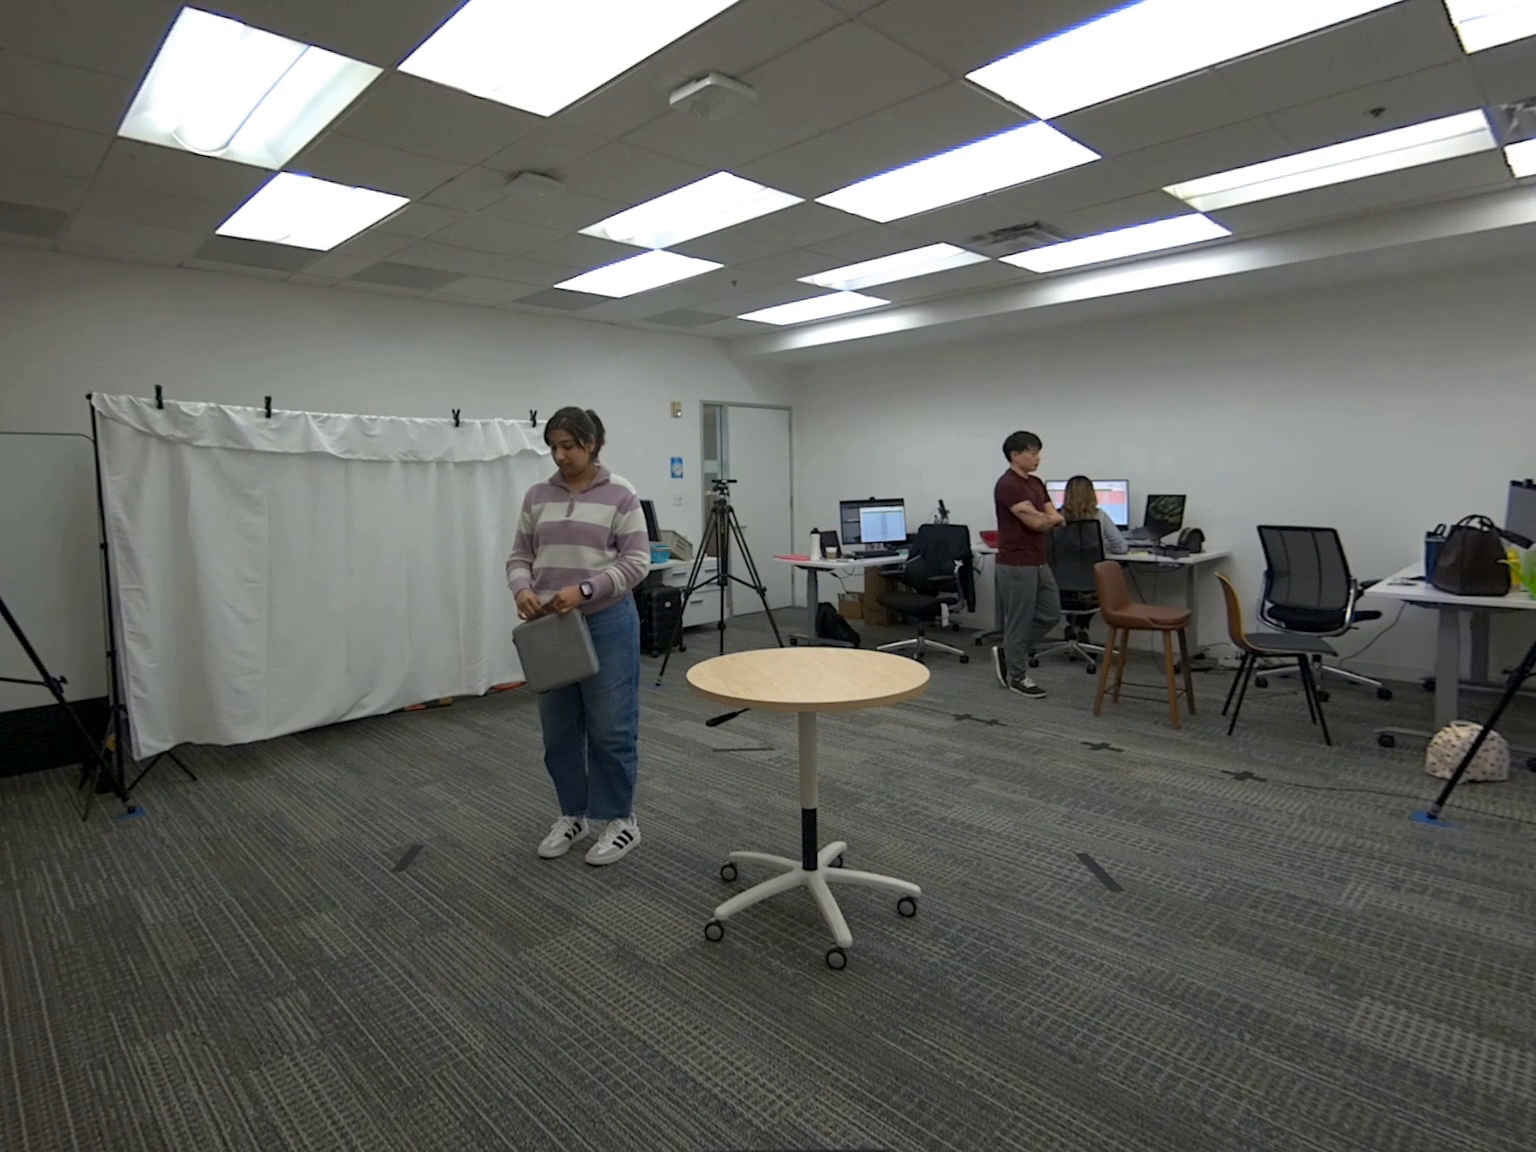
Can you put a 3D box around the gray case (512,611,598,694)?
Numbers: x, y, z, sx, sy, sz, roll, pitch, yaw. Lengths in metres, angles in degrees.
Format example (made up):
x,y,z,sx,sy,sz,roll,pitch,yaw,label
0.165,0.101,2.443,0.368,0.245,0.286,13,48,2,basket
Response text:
x,y,z,sx,sy,sz,roll,pitch,yaw,label
-0.750,0.249,3.017,0.257,0.261,0.104,-11,-1,1,gray case
